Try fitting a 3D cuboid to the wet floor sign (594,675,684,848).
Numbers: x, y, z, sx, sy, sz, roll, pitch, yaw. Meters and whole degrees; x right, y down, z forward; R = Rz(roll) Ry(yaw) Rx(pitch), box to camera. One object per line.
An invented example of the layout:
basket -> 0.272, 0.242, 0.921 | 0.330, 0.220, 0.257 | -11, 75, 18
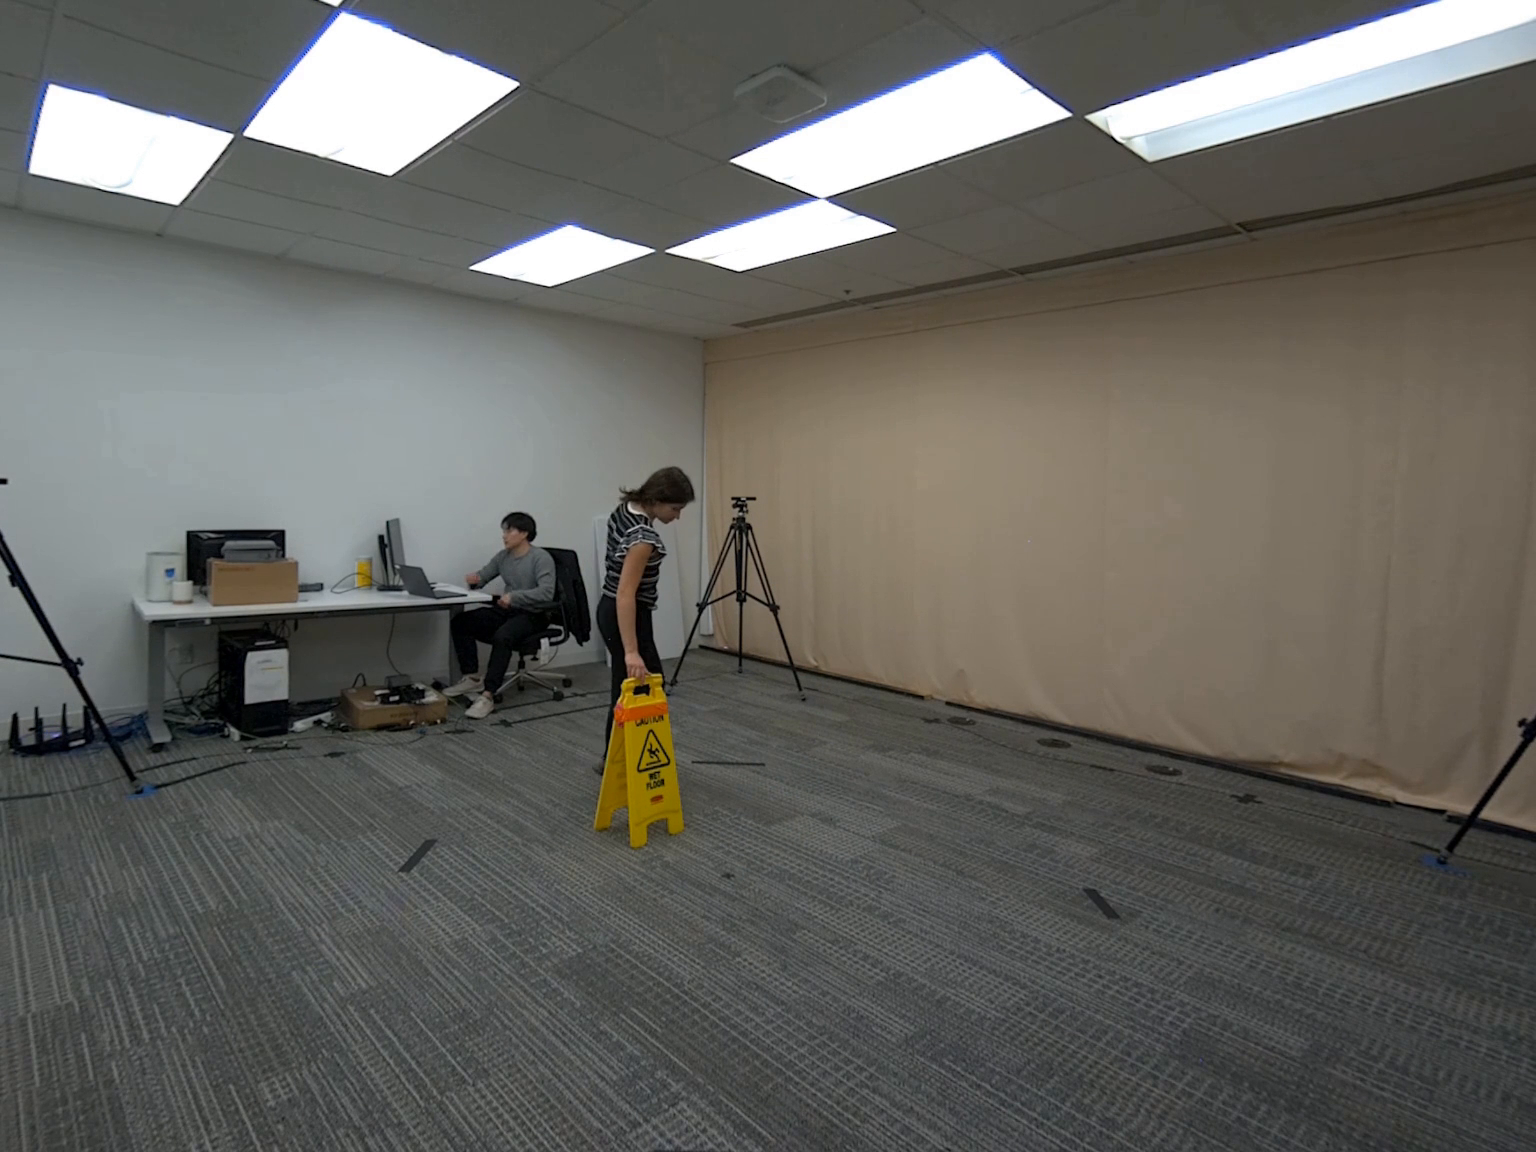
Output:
wet floor sign -> -0.542, 0.739, 3.498 | 0.297, 0.645, 0.275 | 4, 3, 43
